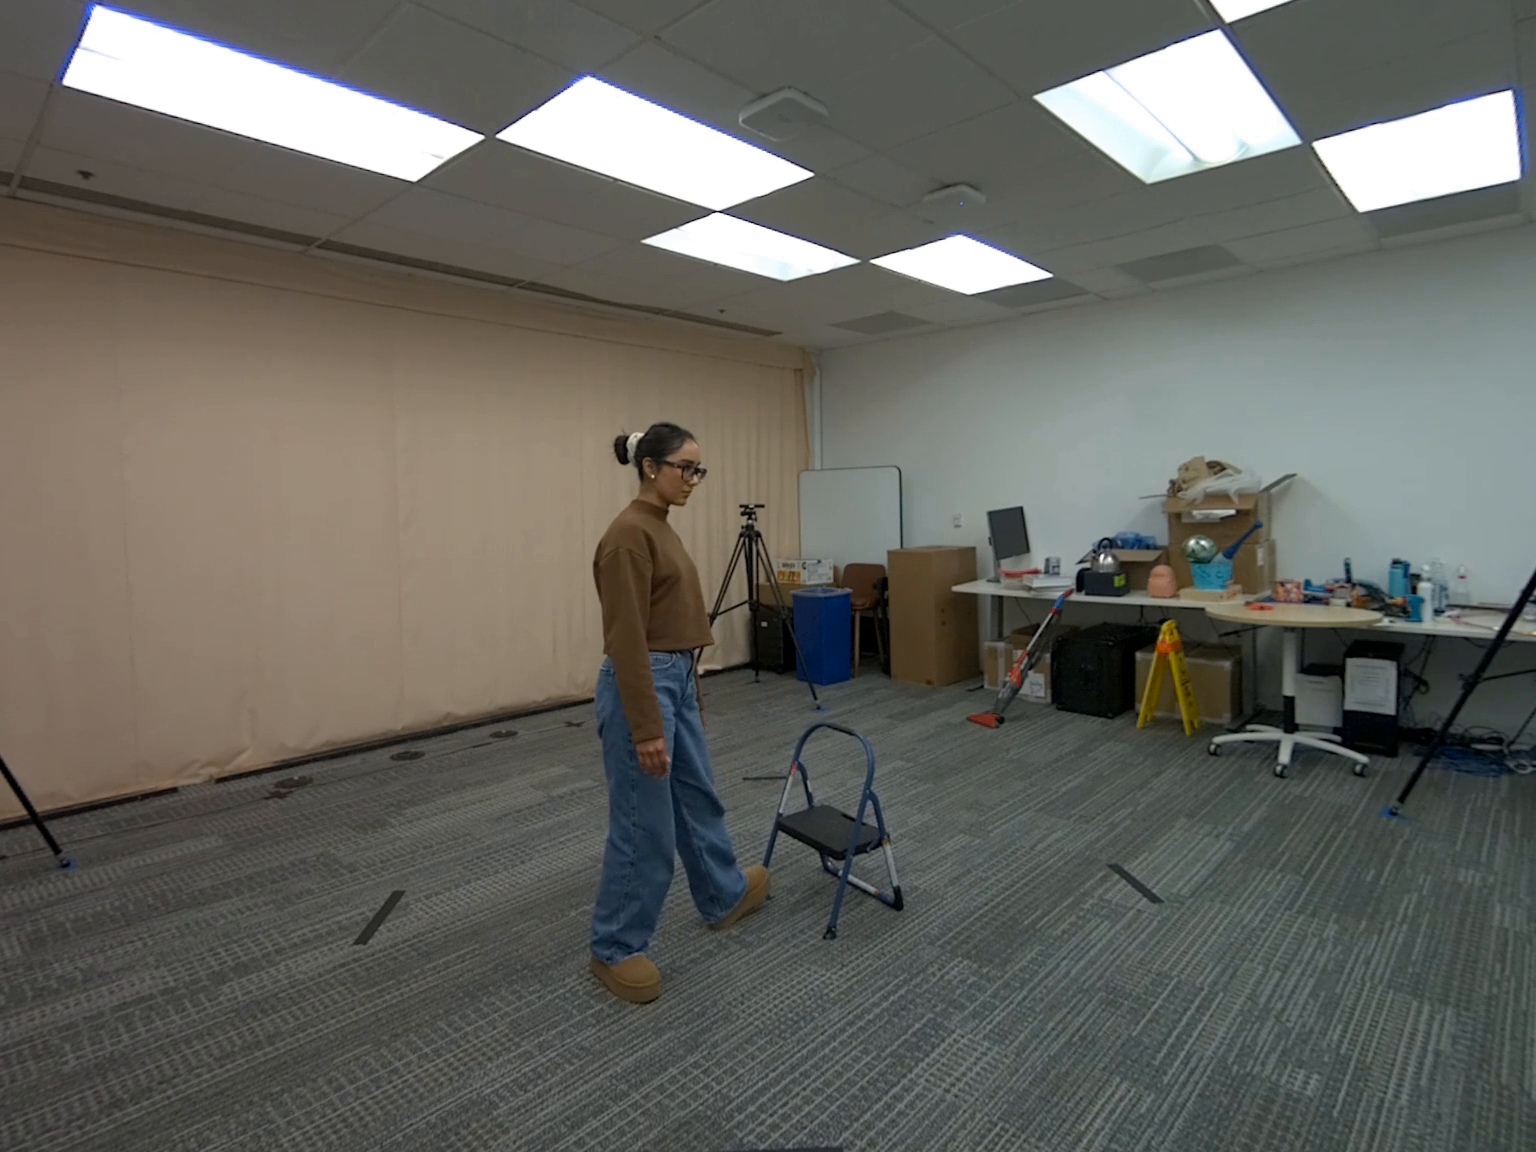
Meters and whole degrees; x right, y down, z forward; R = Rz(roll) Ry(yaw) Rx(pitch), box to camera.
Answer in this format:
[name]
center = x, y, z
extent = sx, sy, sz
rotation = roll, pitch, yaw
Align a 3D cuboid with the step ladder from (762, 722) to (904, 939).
[step ladder]
center = 0.207, 0.834, 2.939
extent = 0.339, 0.605, 0.444
rotation = -3, 4, -35
